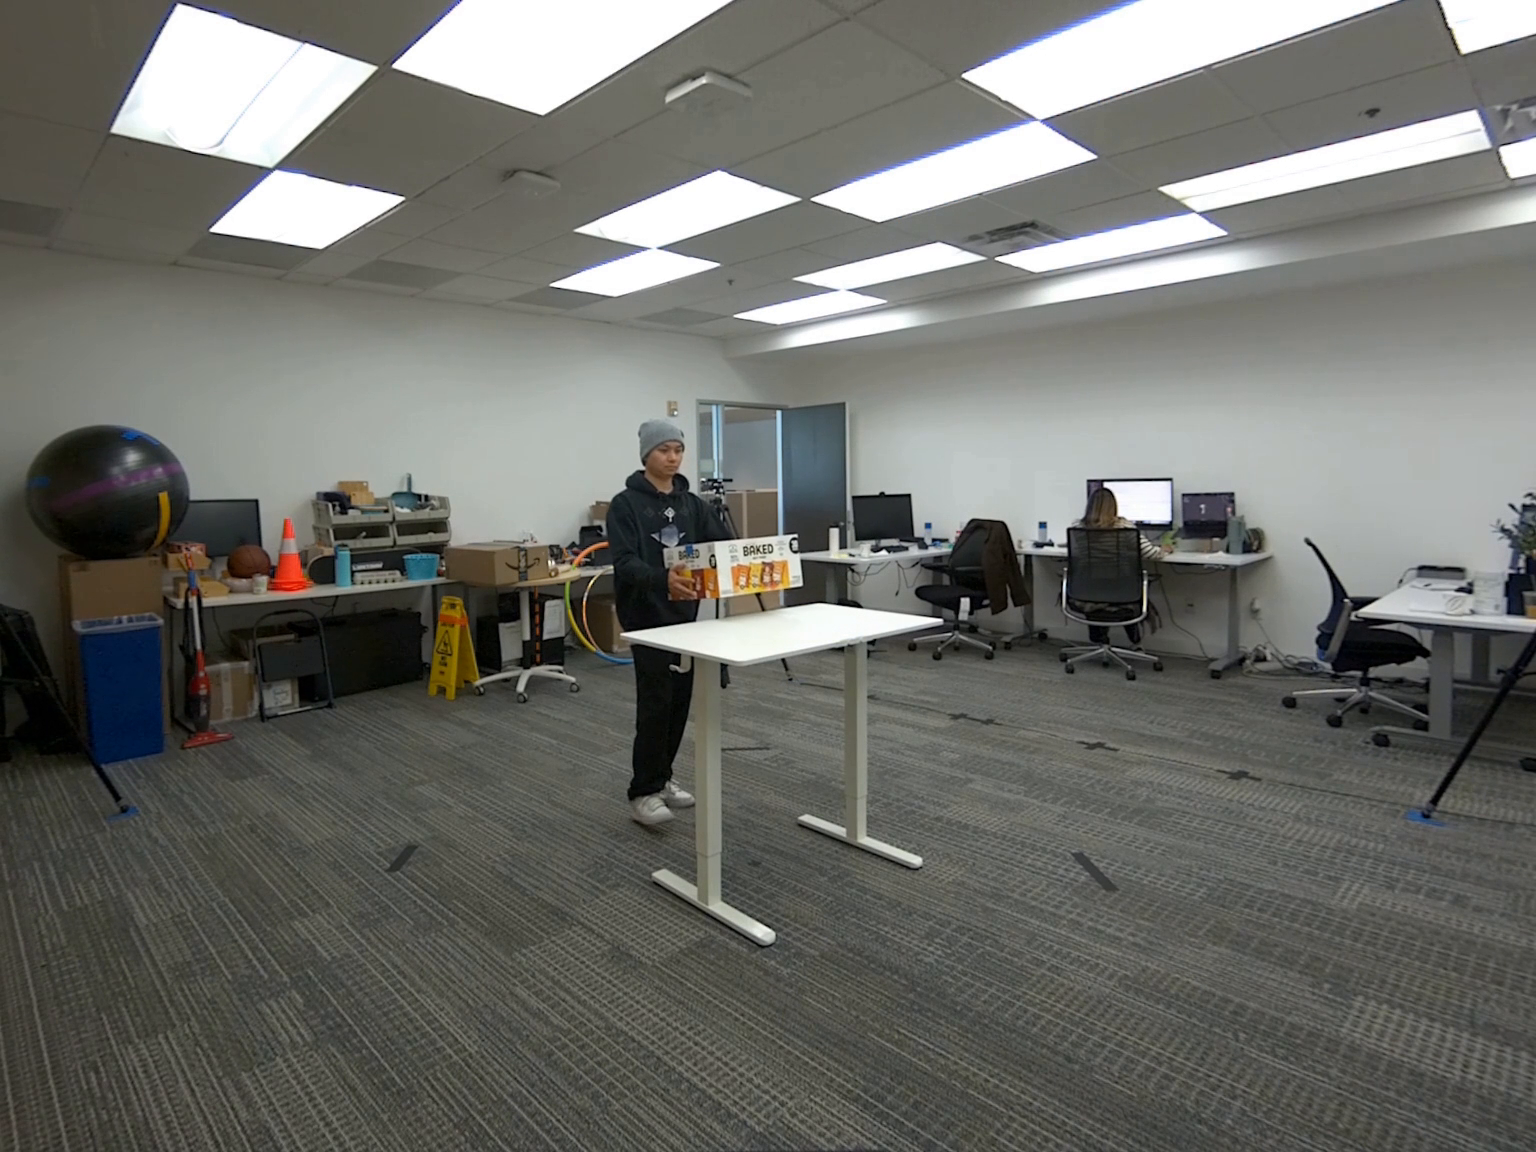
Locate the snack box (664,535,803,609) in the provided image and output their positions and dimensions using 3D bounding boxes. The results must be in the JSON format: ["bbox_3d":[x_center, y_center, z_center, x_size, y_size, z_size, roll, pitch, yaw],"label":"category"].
[{"bbox_3d":[-0.139,-0.033,3.301,0.395,0.206,0.349,-7,2,-39],"label":"snack box"}]
